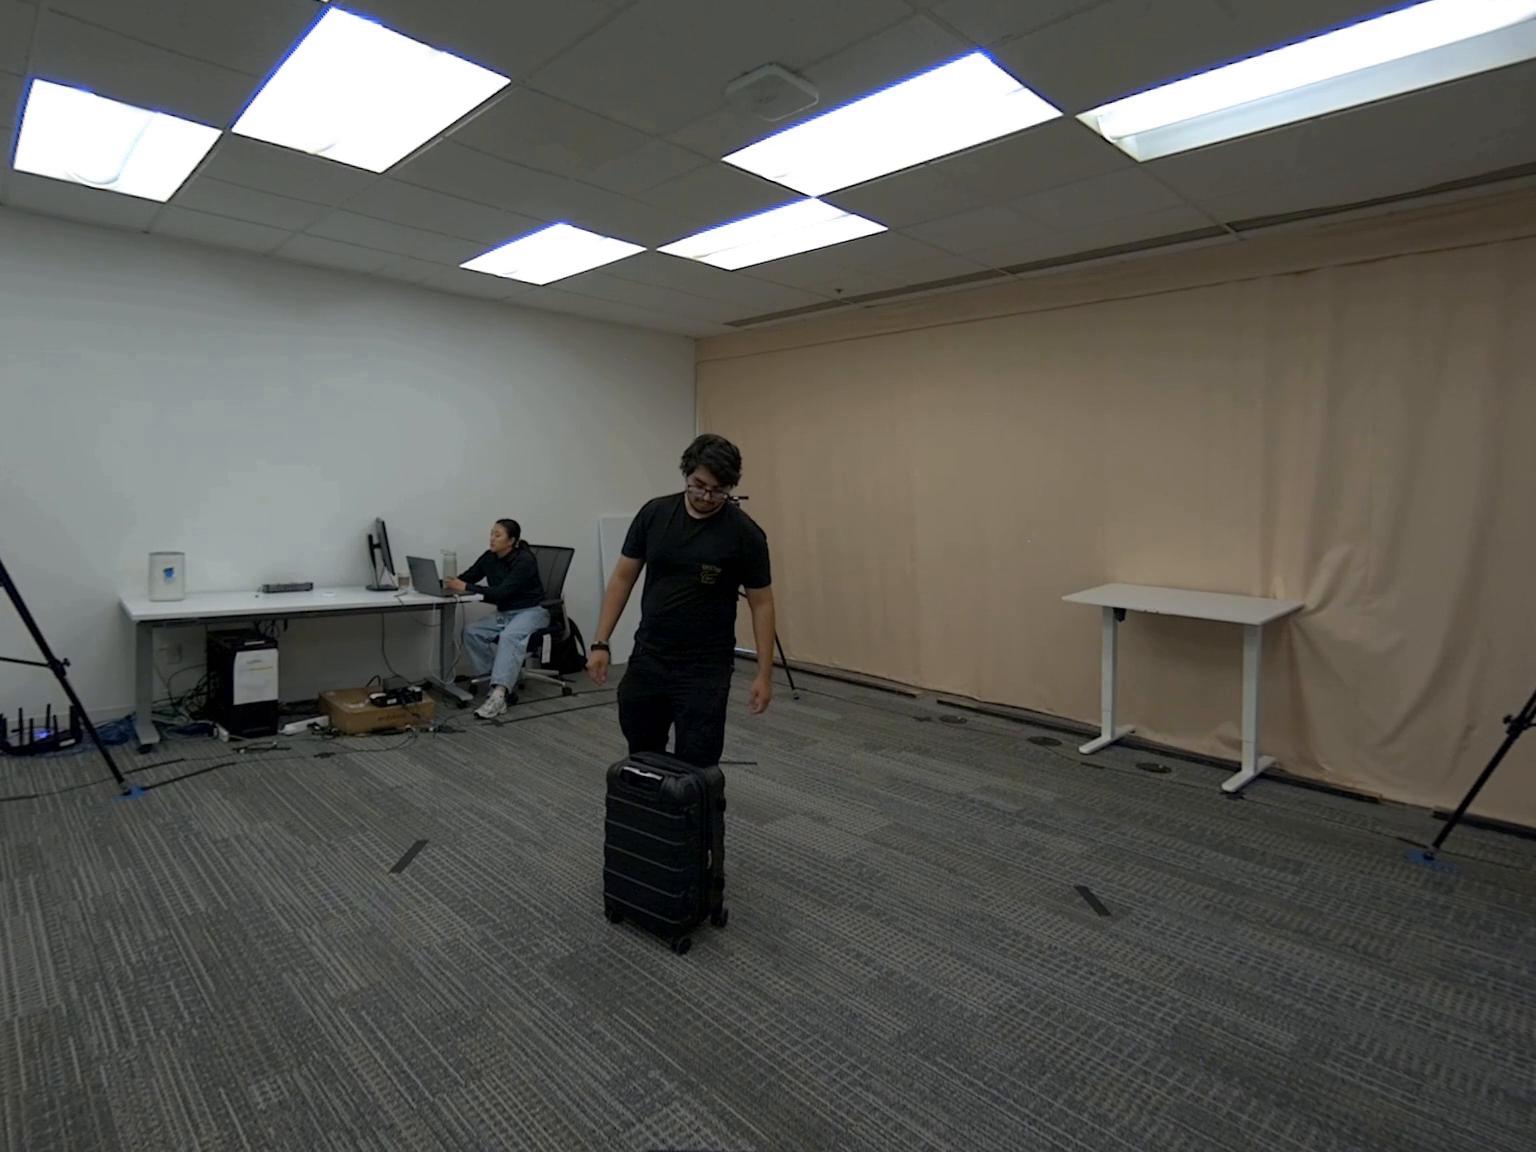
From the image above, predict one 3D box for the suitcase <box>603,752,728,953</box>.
[{"bbox_3d":[-0.342,0.858,2.718,0.384,0.548,0.243,3,4,36],"label":"suitcase"}]
